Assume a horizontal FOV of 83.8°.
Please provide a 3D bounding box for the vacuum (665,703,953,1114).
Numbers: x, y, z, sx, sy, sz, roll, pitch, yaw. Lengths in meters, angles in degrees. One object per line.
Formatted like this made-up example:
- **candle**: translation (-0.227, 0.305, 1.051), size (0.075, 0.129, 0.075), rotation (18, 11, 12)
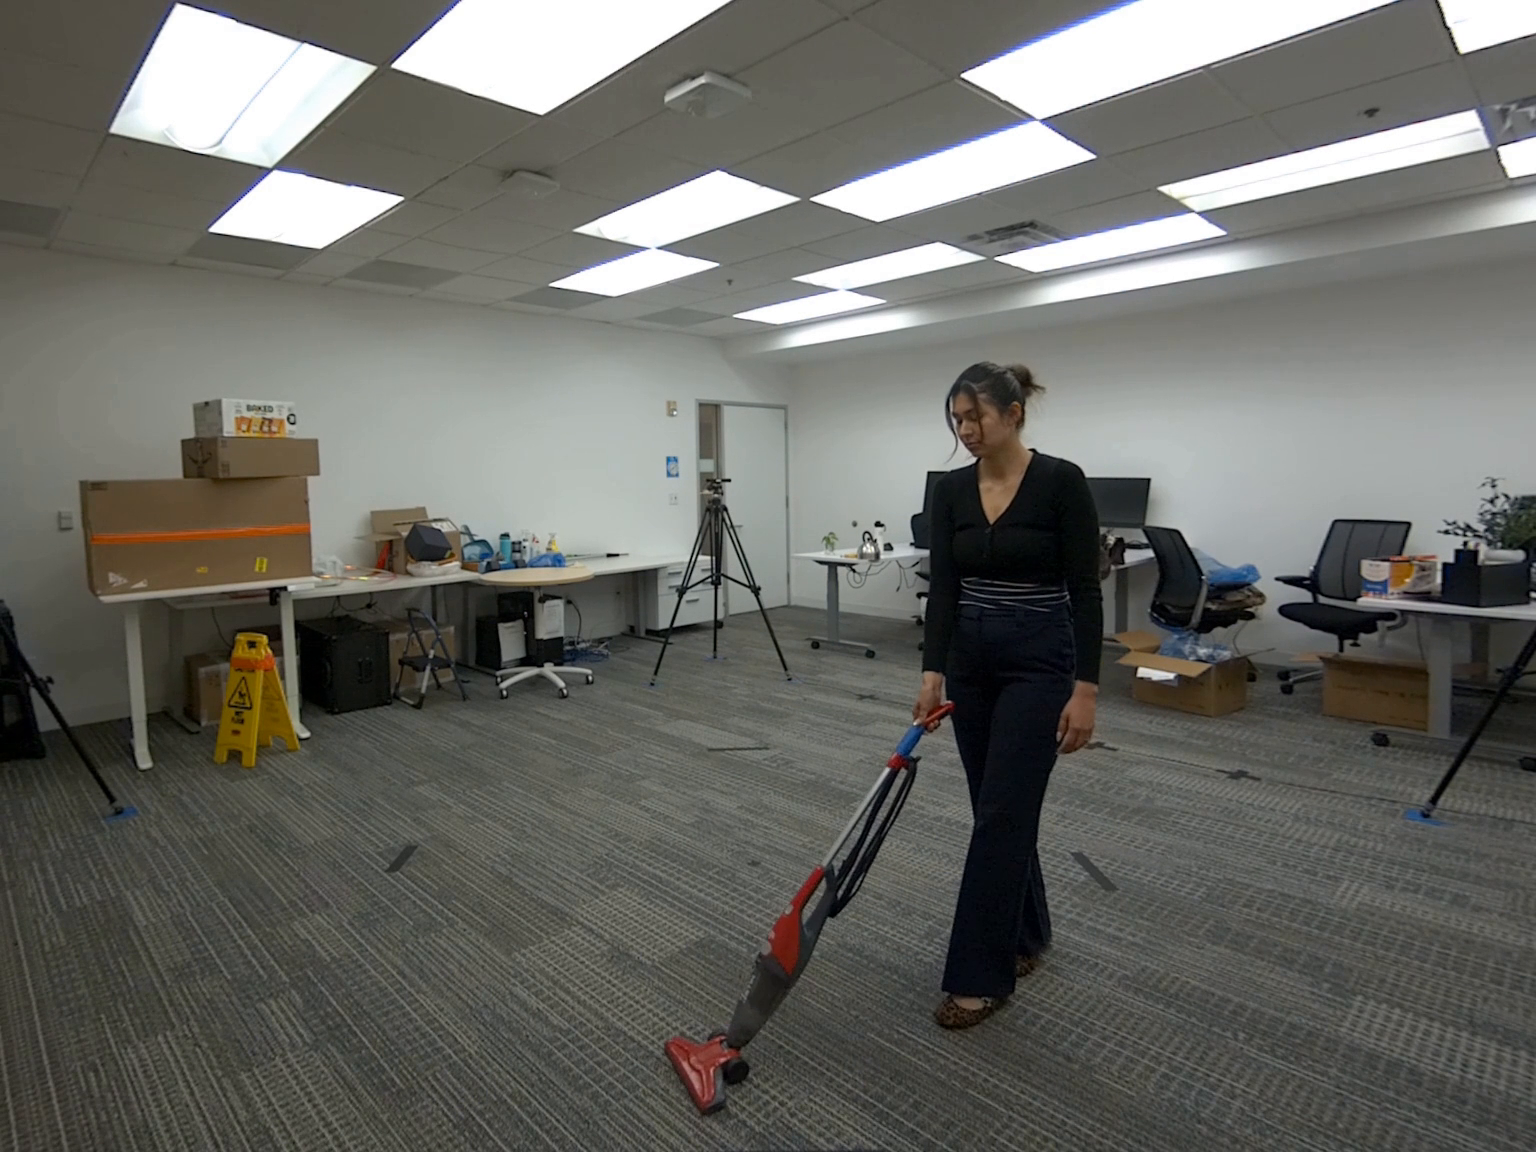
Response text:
- **vacuum**: translation (0.172, 0.770, 2.124), size (0.139, 1.051, 0.261), rotation (46, -16, -30)
